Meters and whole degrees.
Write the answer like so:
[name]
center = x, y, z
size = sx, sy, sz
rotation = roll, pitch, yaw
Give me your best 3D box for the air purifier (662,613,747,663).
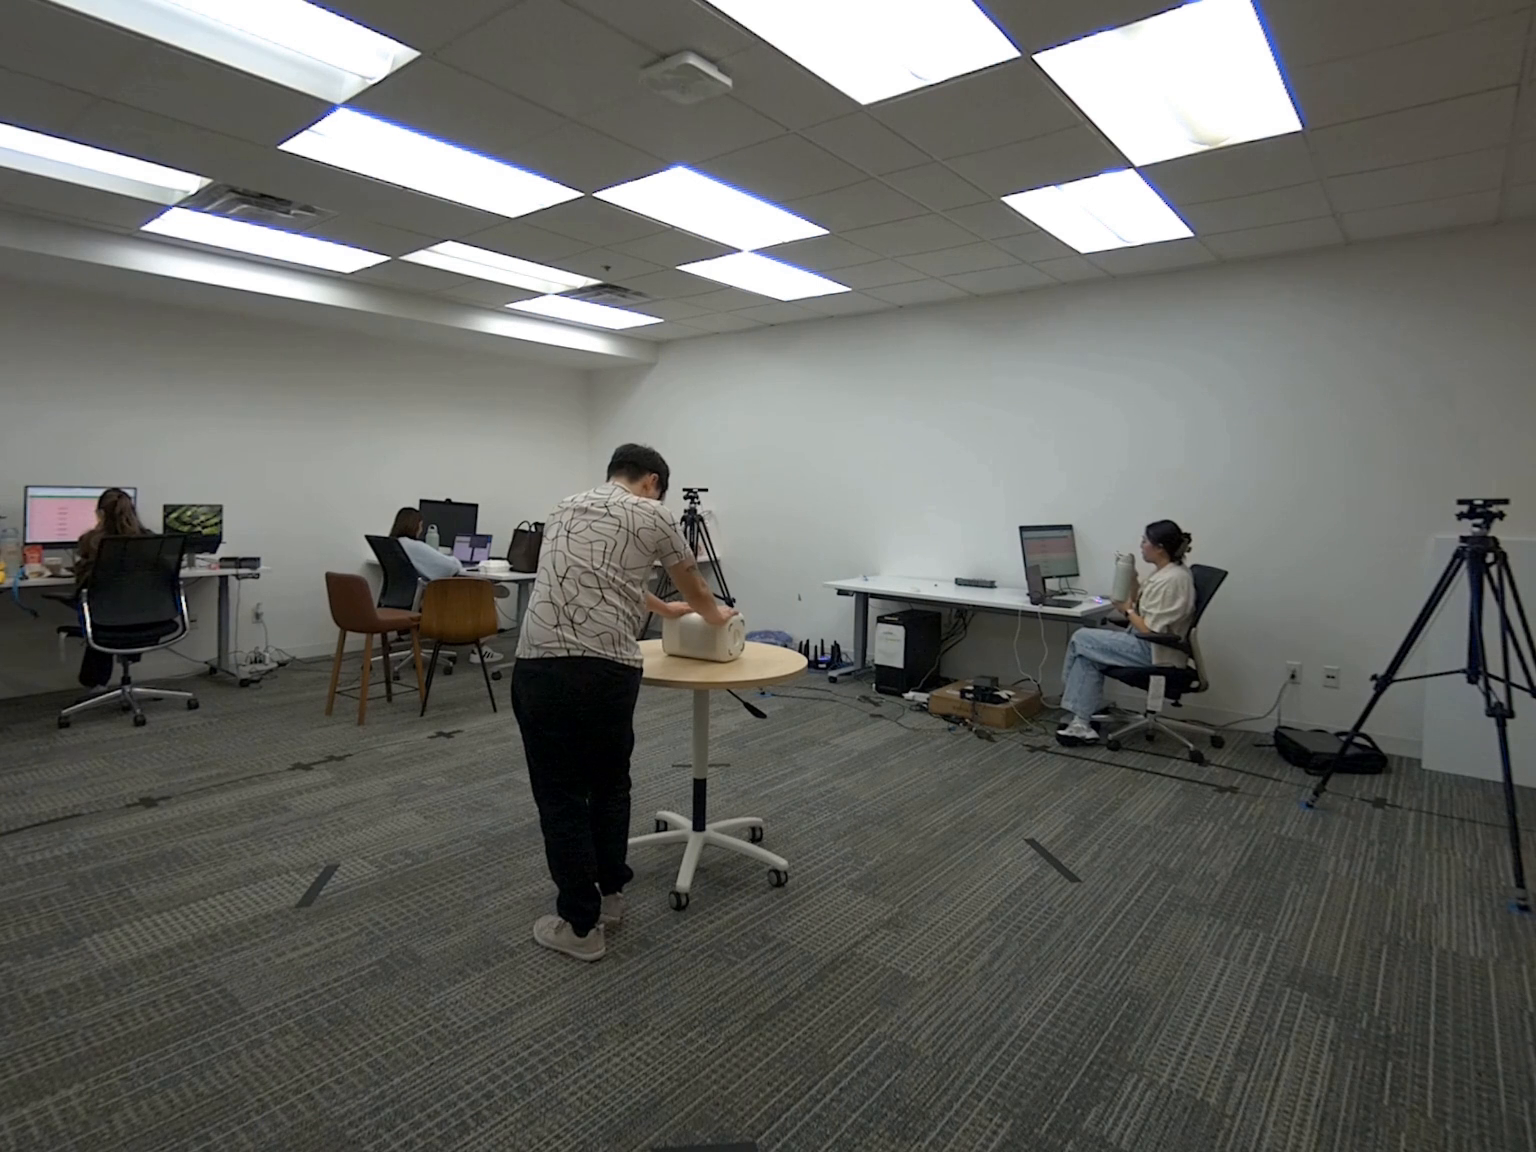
[air purifier]
center = -0.240, 0.203, 3.095
size = 0.273, 0.170, 0.167
rotation = 4, 8, 28
